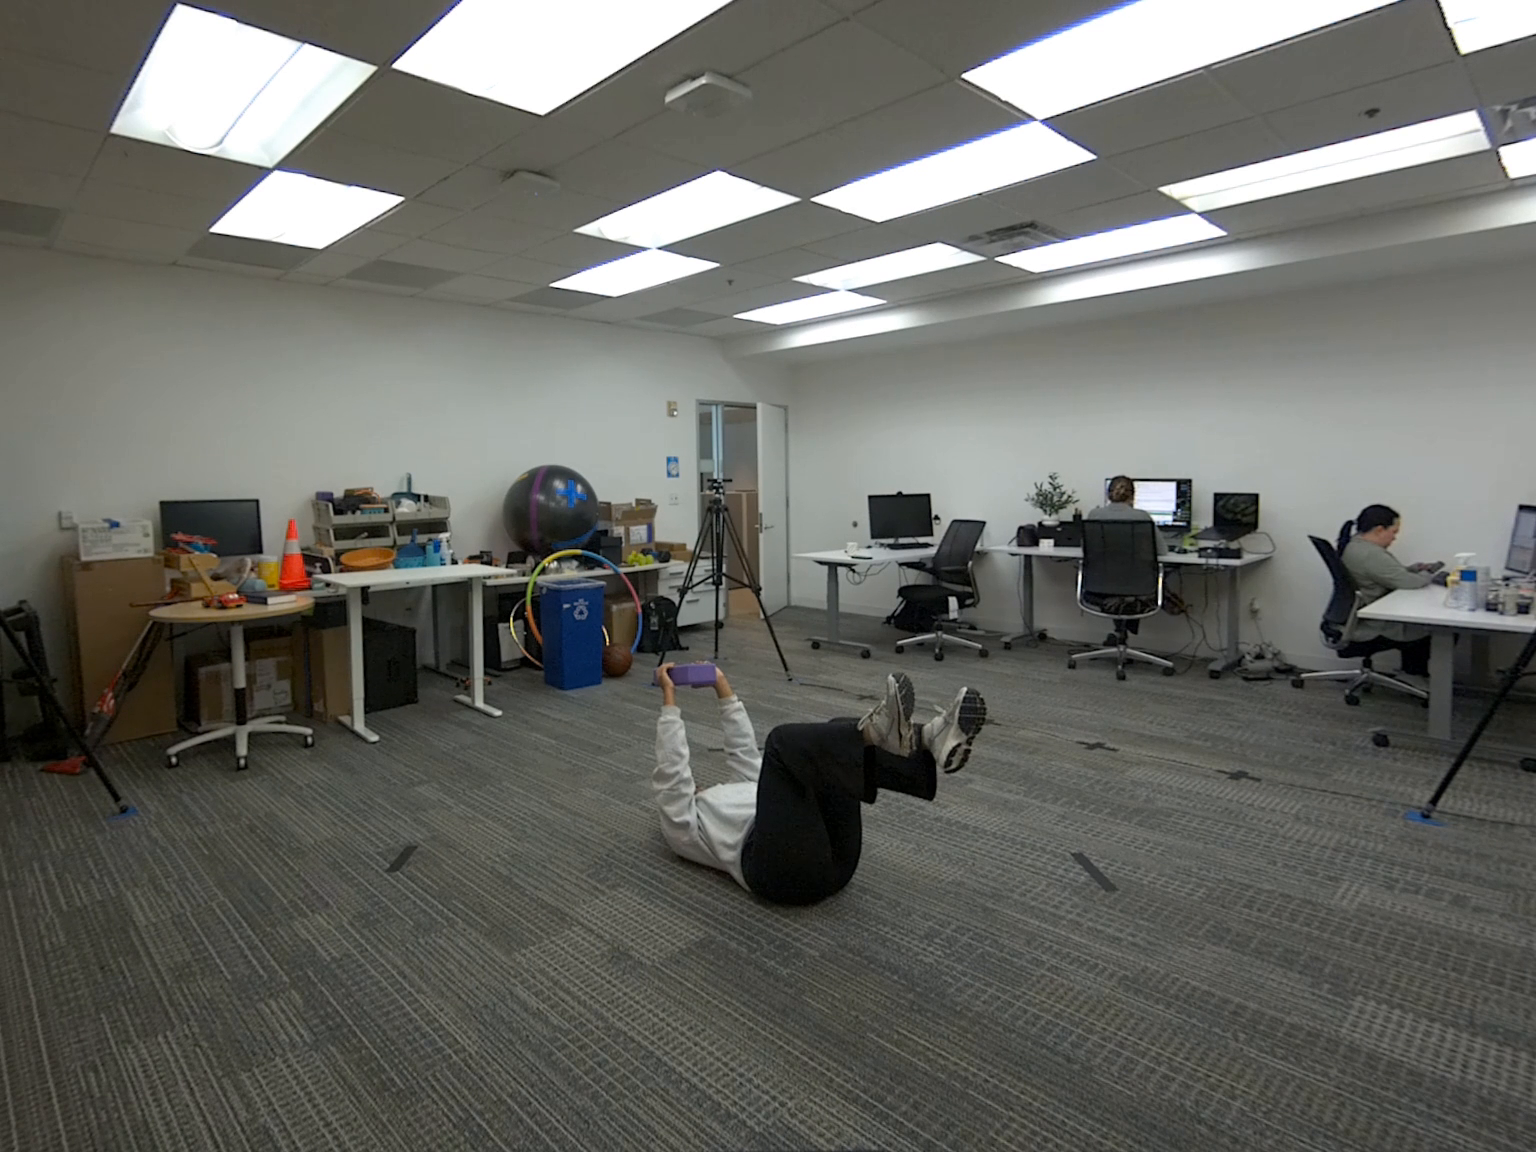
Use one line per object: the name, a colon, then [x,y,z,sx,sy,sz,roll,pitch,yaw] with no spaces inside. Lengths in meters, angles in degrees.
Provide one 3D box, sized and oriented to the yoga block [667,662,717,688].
yoga block: [-0.329,0.391,3.366,0.145,0.077,0.234,2,-9,-37]
